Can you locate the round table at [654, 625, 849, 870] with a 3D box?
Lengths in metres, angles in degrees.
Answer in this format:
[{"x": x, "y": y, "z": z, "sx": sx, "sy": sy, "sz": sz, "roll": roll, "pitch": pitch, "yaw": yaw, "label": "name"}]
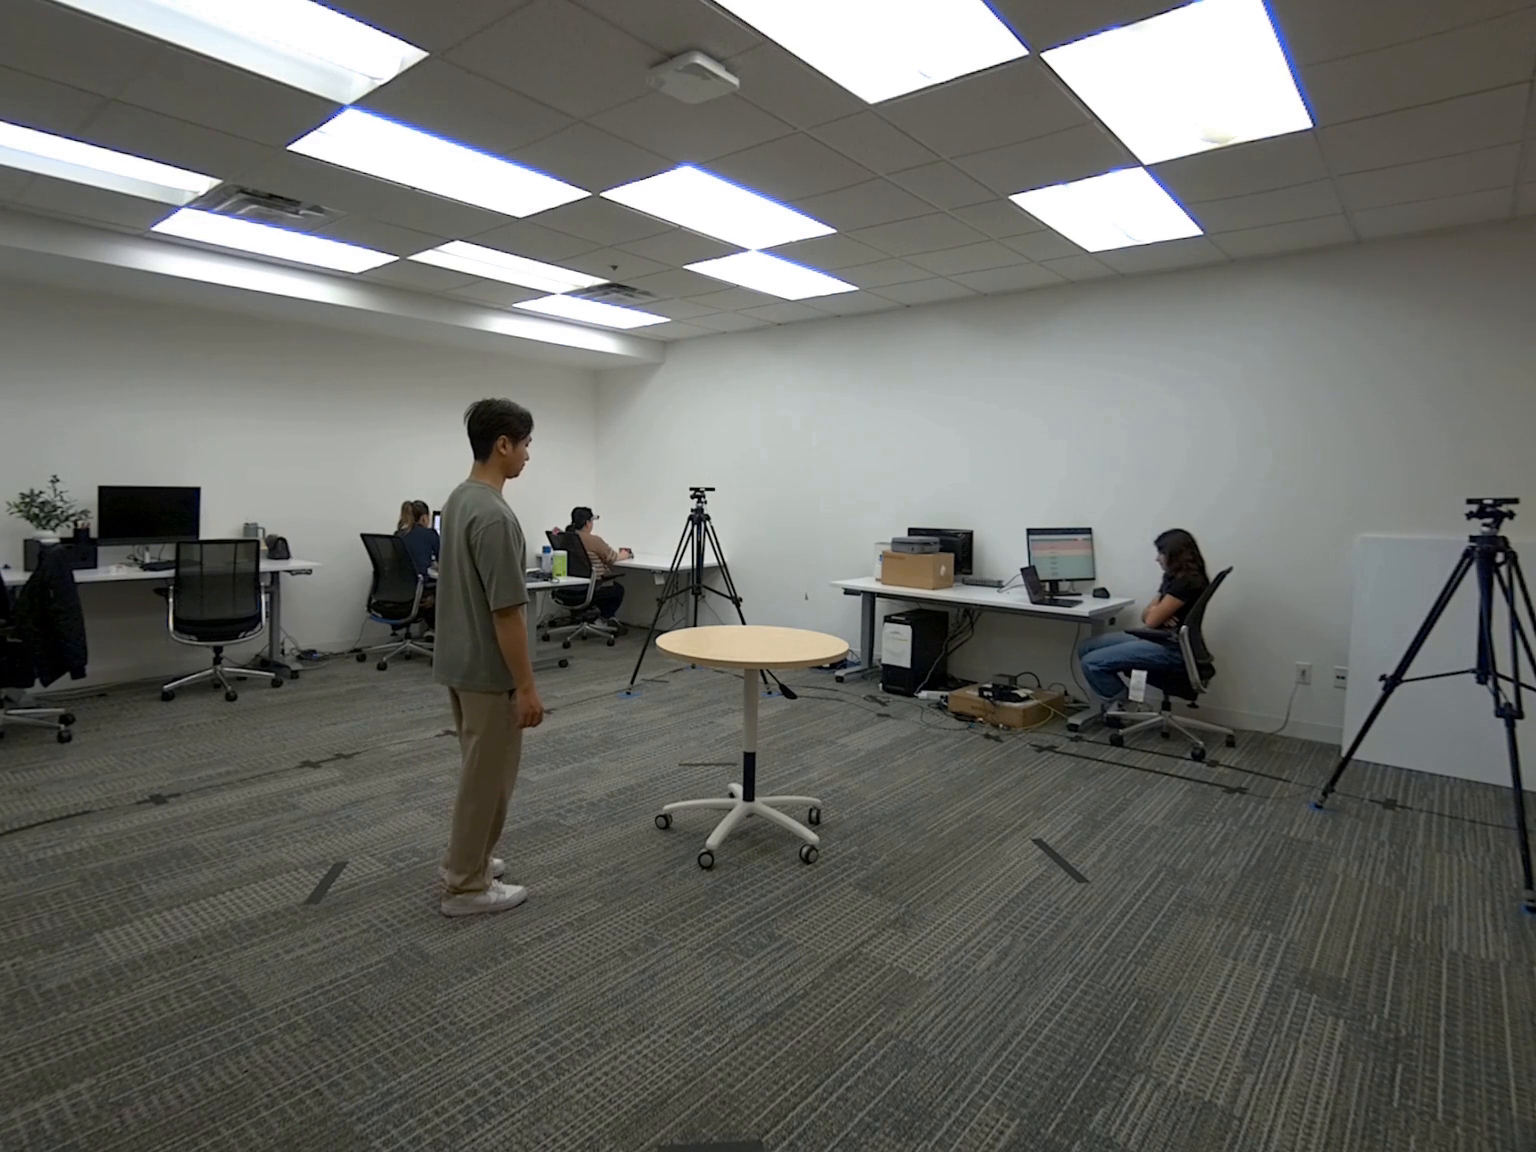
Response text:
[{"x": -0.085, "y": 0.652, "z": 3.414, "sx": 0.763, "sy": 0.791, "sz": 0.768, "roll": 1, "pitch": 4, "yaw": -2, "label": "round table"}]
